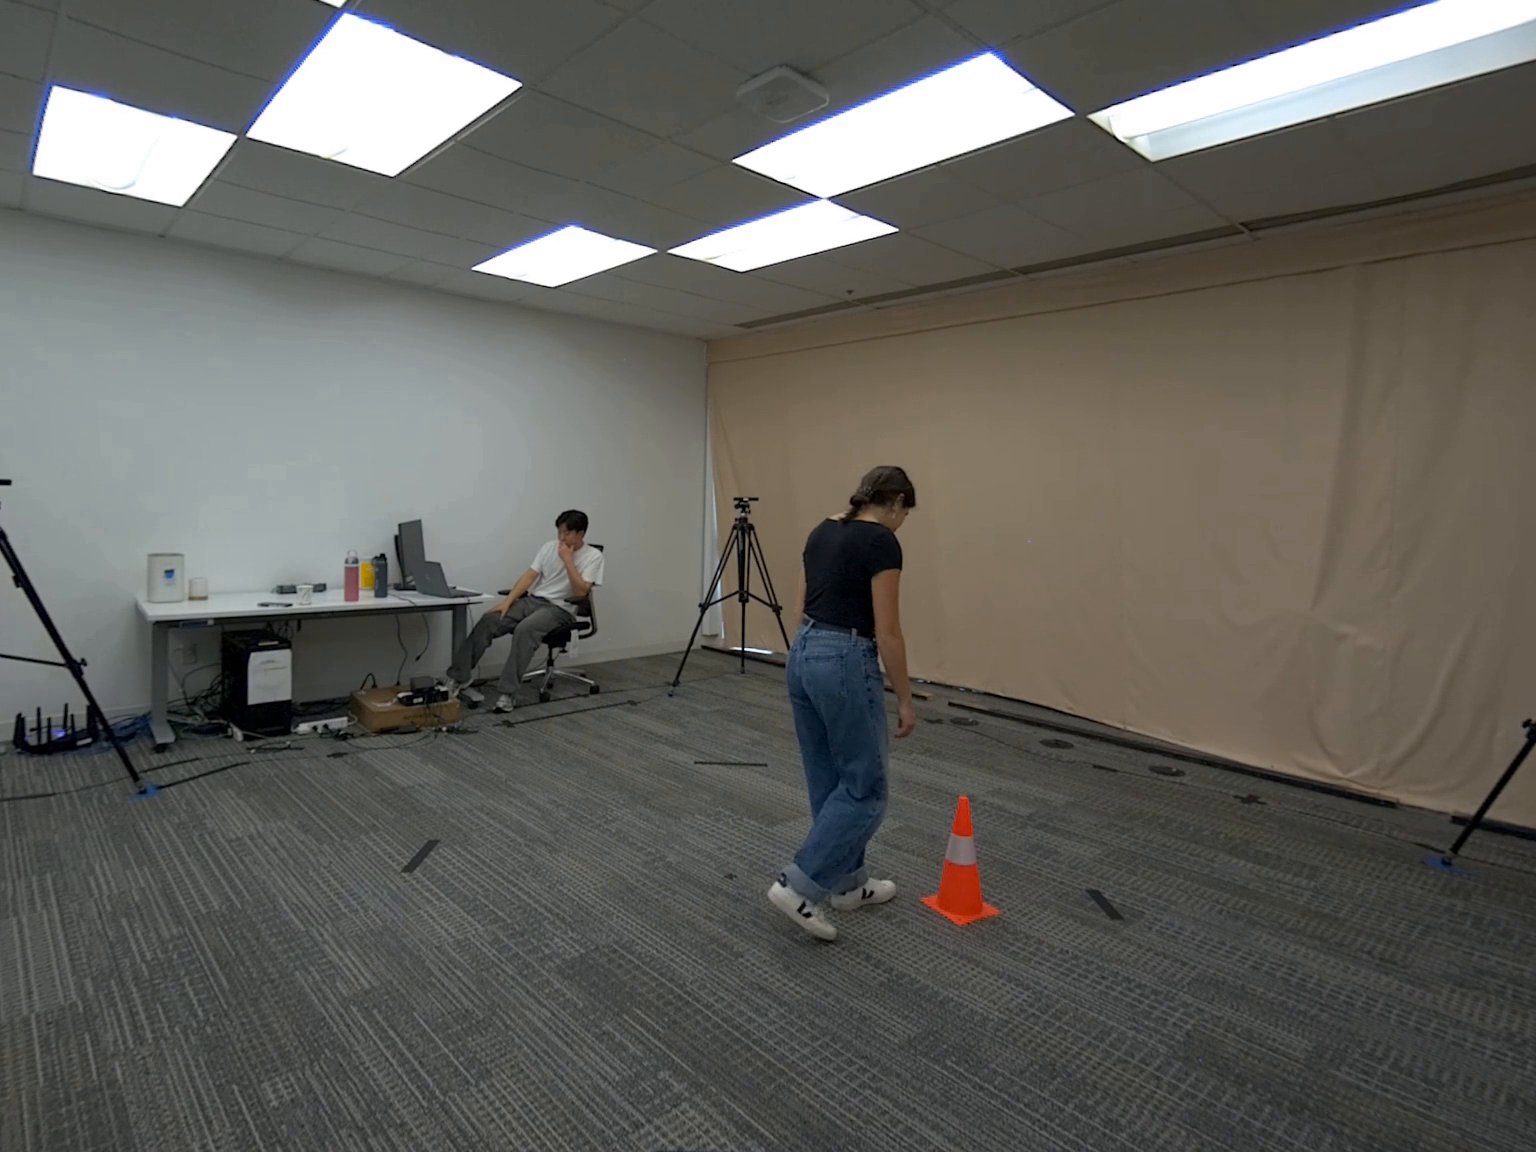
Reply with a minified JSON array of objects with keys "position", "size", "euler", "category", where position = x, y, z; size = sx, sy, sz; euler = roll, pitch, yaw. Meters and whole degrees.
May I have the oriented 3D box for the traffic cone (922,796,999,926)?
[{"position":[0.665,0.962,2.900],"size":[0.200,0.382,0.209],"euler":[0,5,-25],"category":"traffic cone"}]
